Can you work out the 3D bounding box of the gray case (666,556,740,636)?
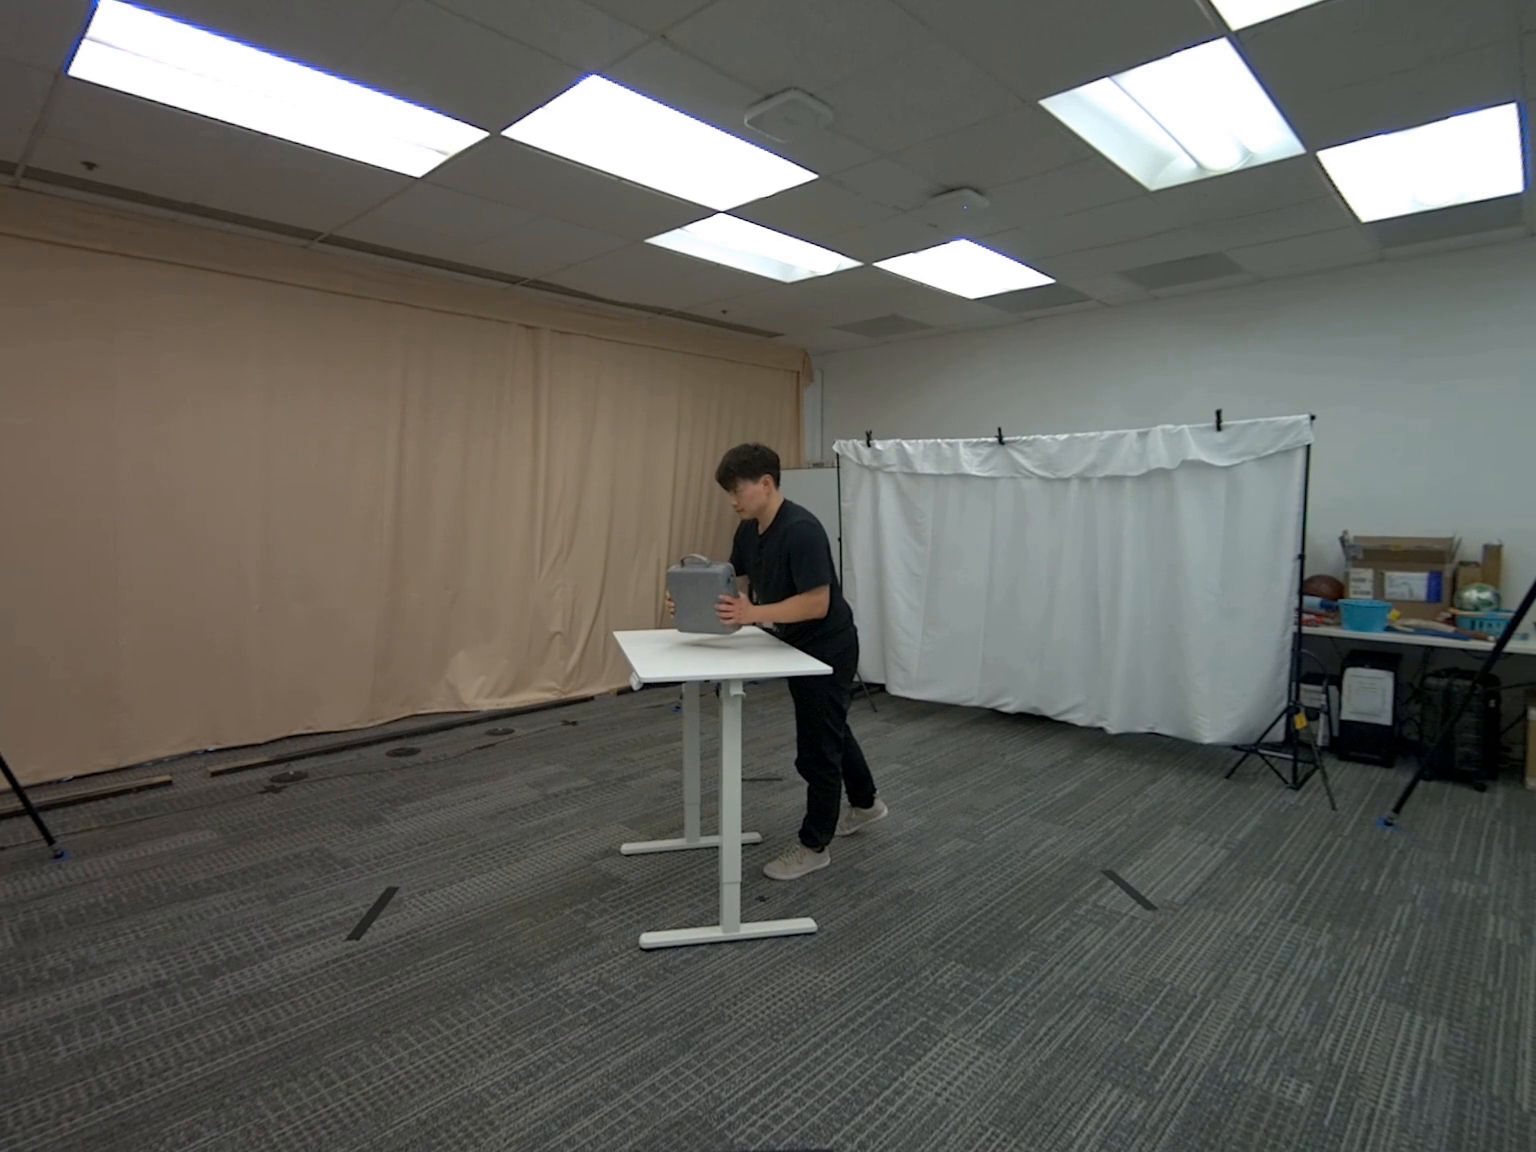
[{"bbox_3d":[-0.220,0.079,3.019,0.263,0.258,0.102,-2,14,27],"label":"gray case"}]
